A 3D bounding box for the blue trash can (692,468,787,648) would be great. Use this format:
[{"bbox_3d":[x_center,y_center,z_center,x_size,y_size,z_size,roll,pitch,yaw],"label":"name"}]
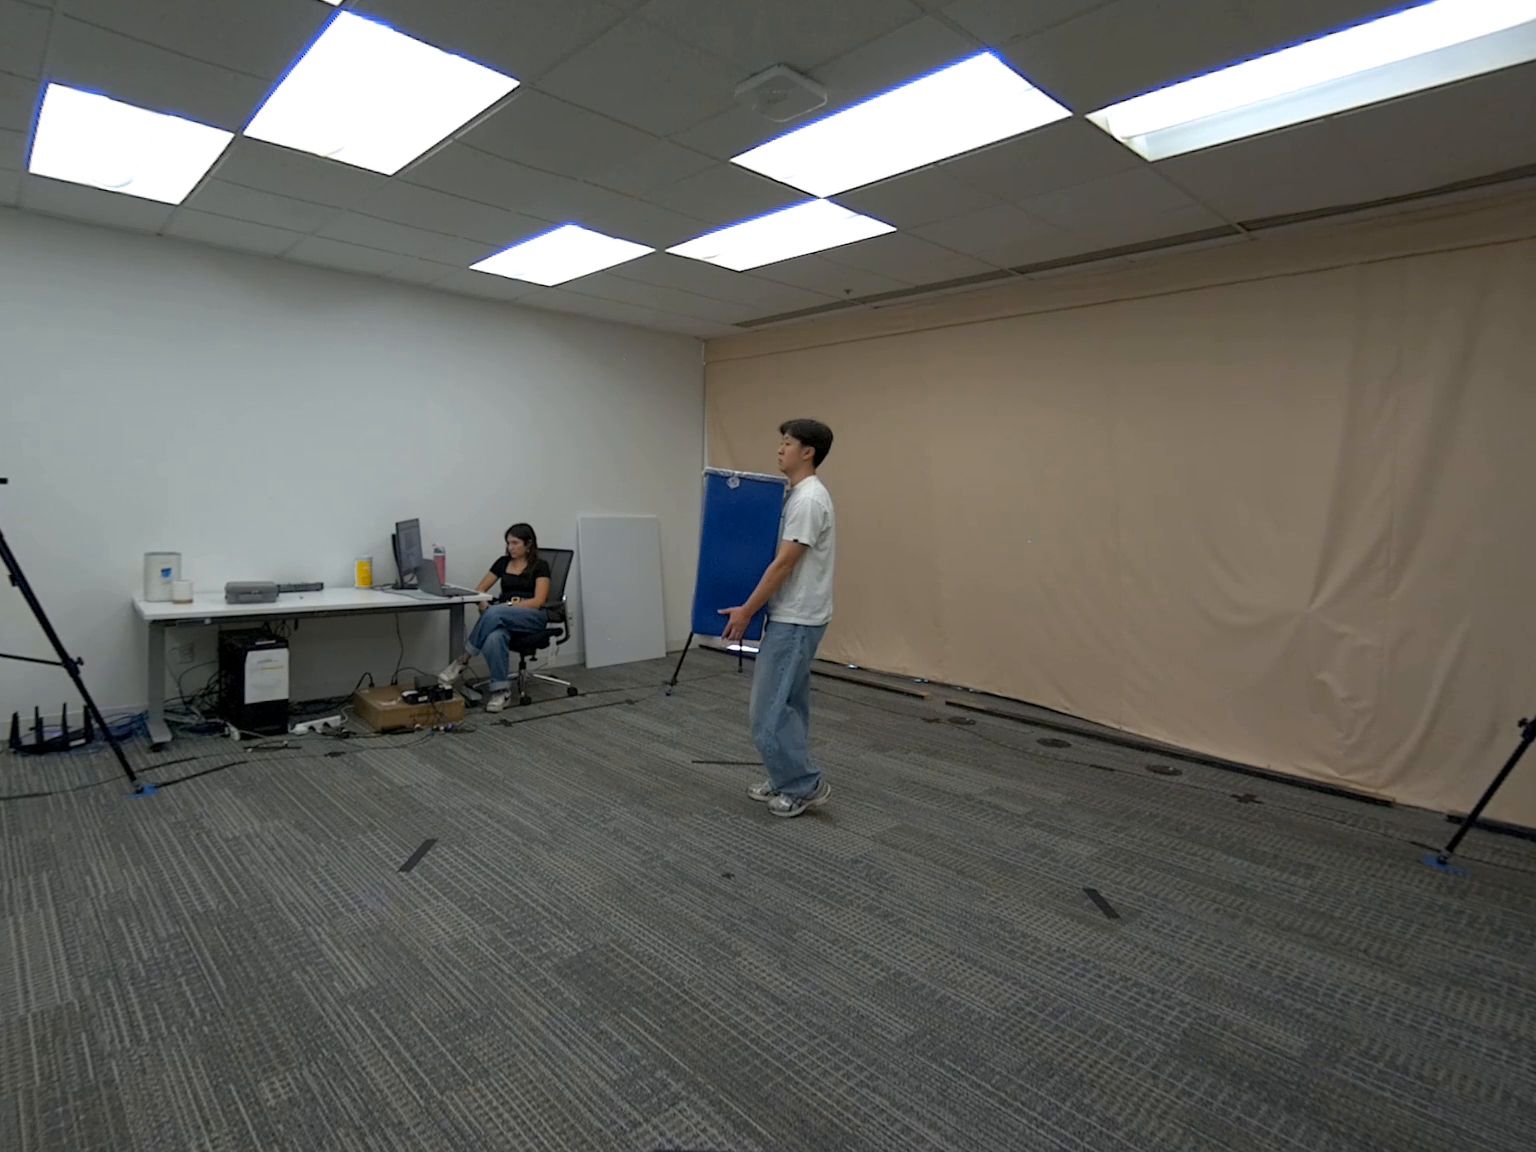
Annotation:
[{"bbox_3d":[-0.159,-0.105,3.773,0.376,0.712,0.376,7,2,-6],"label":"blue trash can"}]
